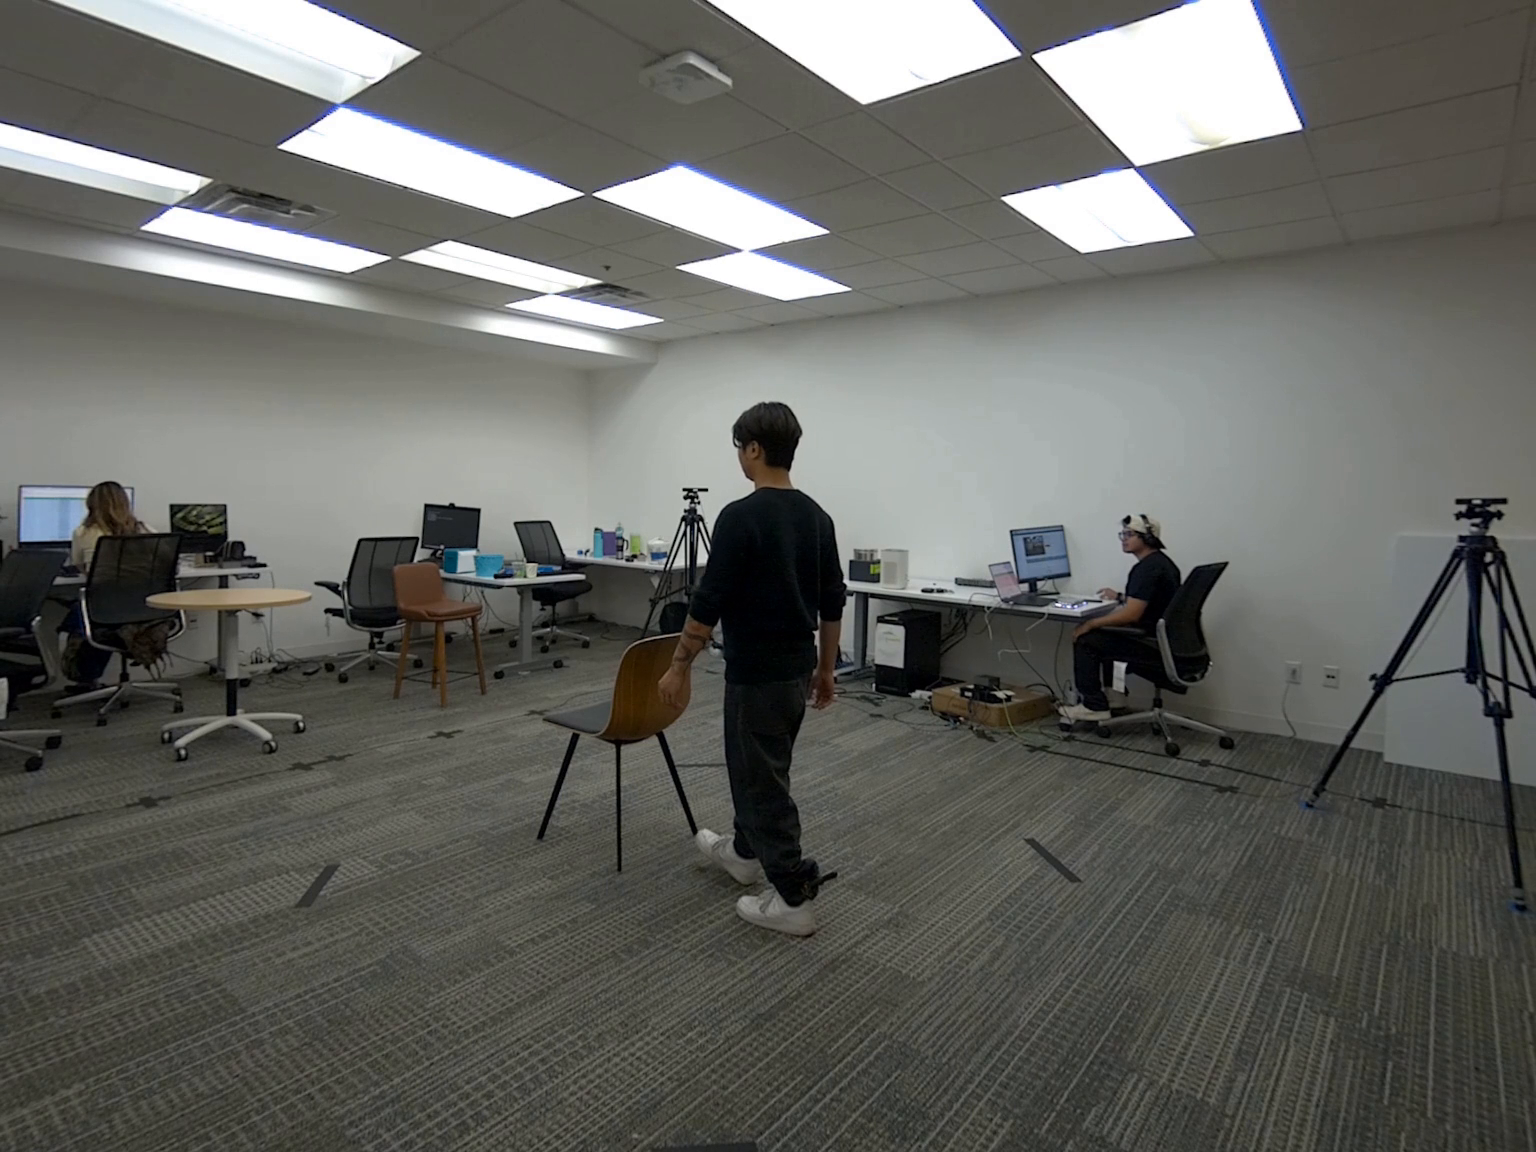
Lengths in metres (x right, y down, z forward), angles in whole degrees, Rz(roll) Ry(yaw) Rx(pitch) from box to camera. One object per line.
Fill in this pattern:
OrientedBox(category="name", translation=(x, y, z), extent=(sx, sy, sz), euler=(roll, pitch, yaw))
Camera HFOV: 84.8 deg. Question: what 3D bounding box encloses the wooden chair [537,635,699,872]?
OrientedBox(category="wooden chair", translation=(-0.605, 0.612, 3.362), extent=(0.541, 0.873, 0.464), euler=(9, 7, 36))
